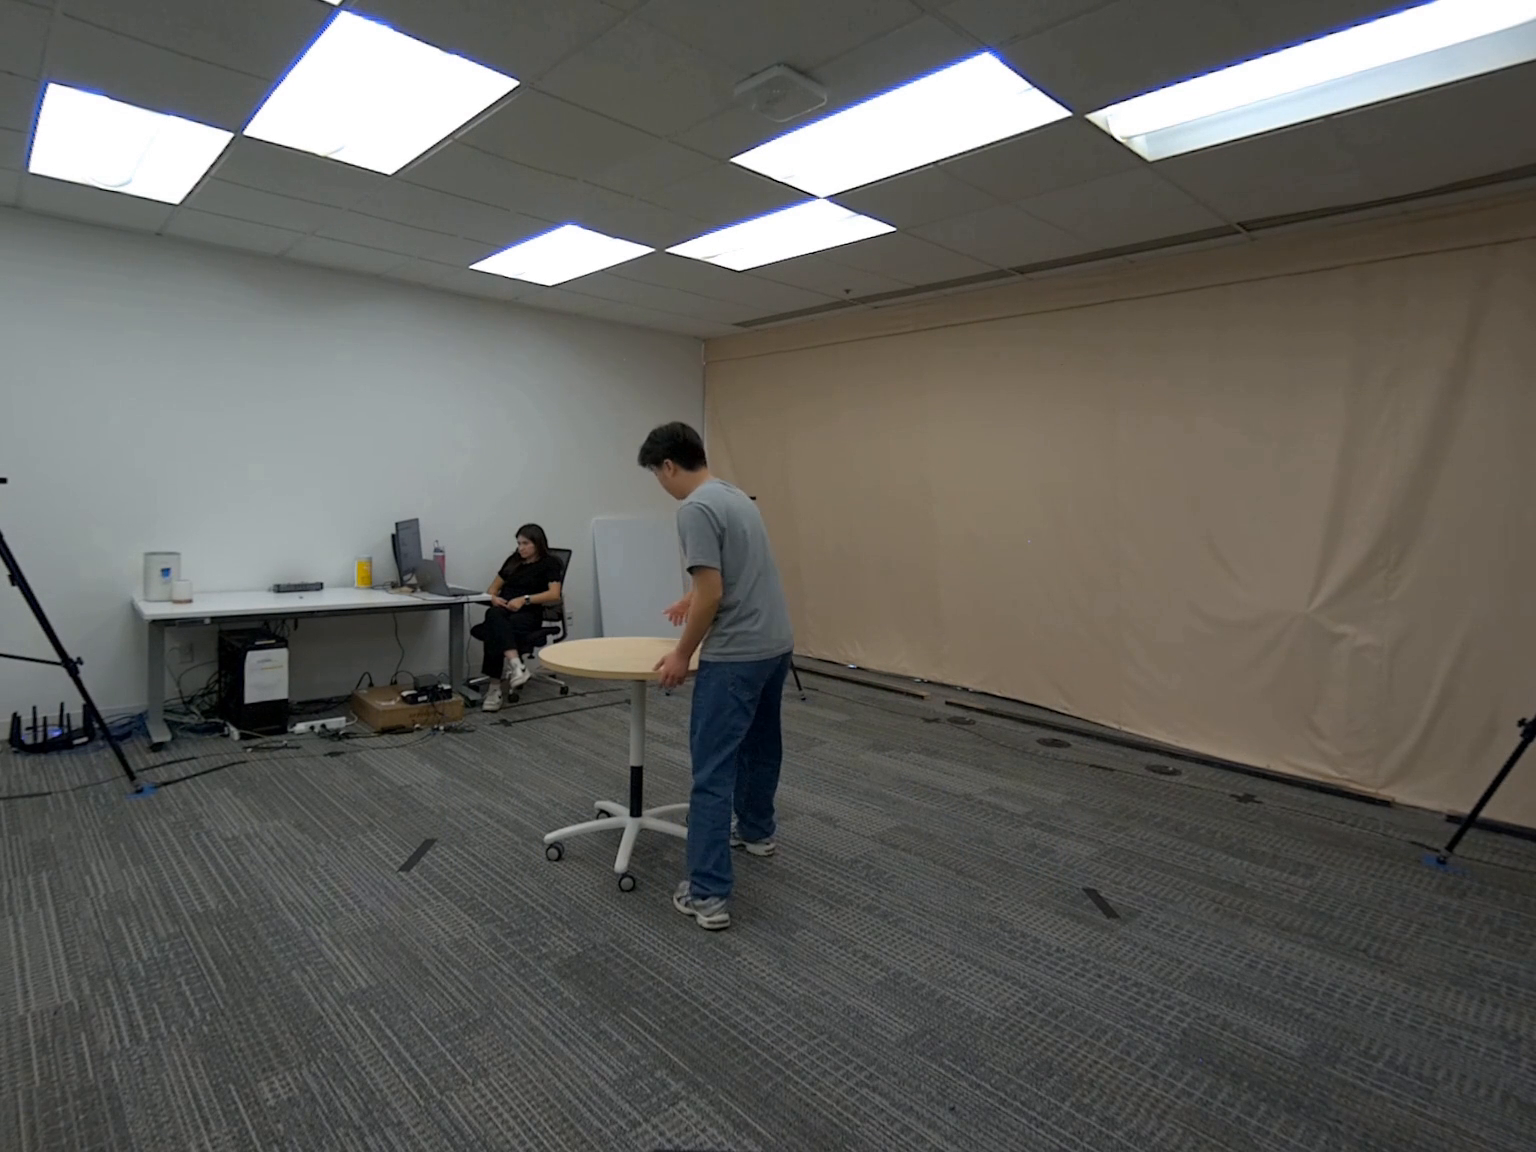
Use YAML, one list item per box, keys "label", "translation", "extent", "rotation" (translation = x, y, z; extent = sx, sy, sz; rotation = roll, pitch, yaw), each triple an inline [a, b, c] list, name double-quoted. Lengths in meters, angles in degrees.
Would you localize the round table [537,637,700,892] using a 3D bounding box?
- label: "round table"
  translation: [-0.521, 0.691, 3.283]
  extent: [0.763, 0.792, 0.766]
  rotation: [1, 3, -1]
